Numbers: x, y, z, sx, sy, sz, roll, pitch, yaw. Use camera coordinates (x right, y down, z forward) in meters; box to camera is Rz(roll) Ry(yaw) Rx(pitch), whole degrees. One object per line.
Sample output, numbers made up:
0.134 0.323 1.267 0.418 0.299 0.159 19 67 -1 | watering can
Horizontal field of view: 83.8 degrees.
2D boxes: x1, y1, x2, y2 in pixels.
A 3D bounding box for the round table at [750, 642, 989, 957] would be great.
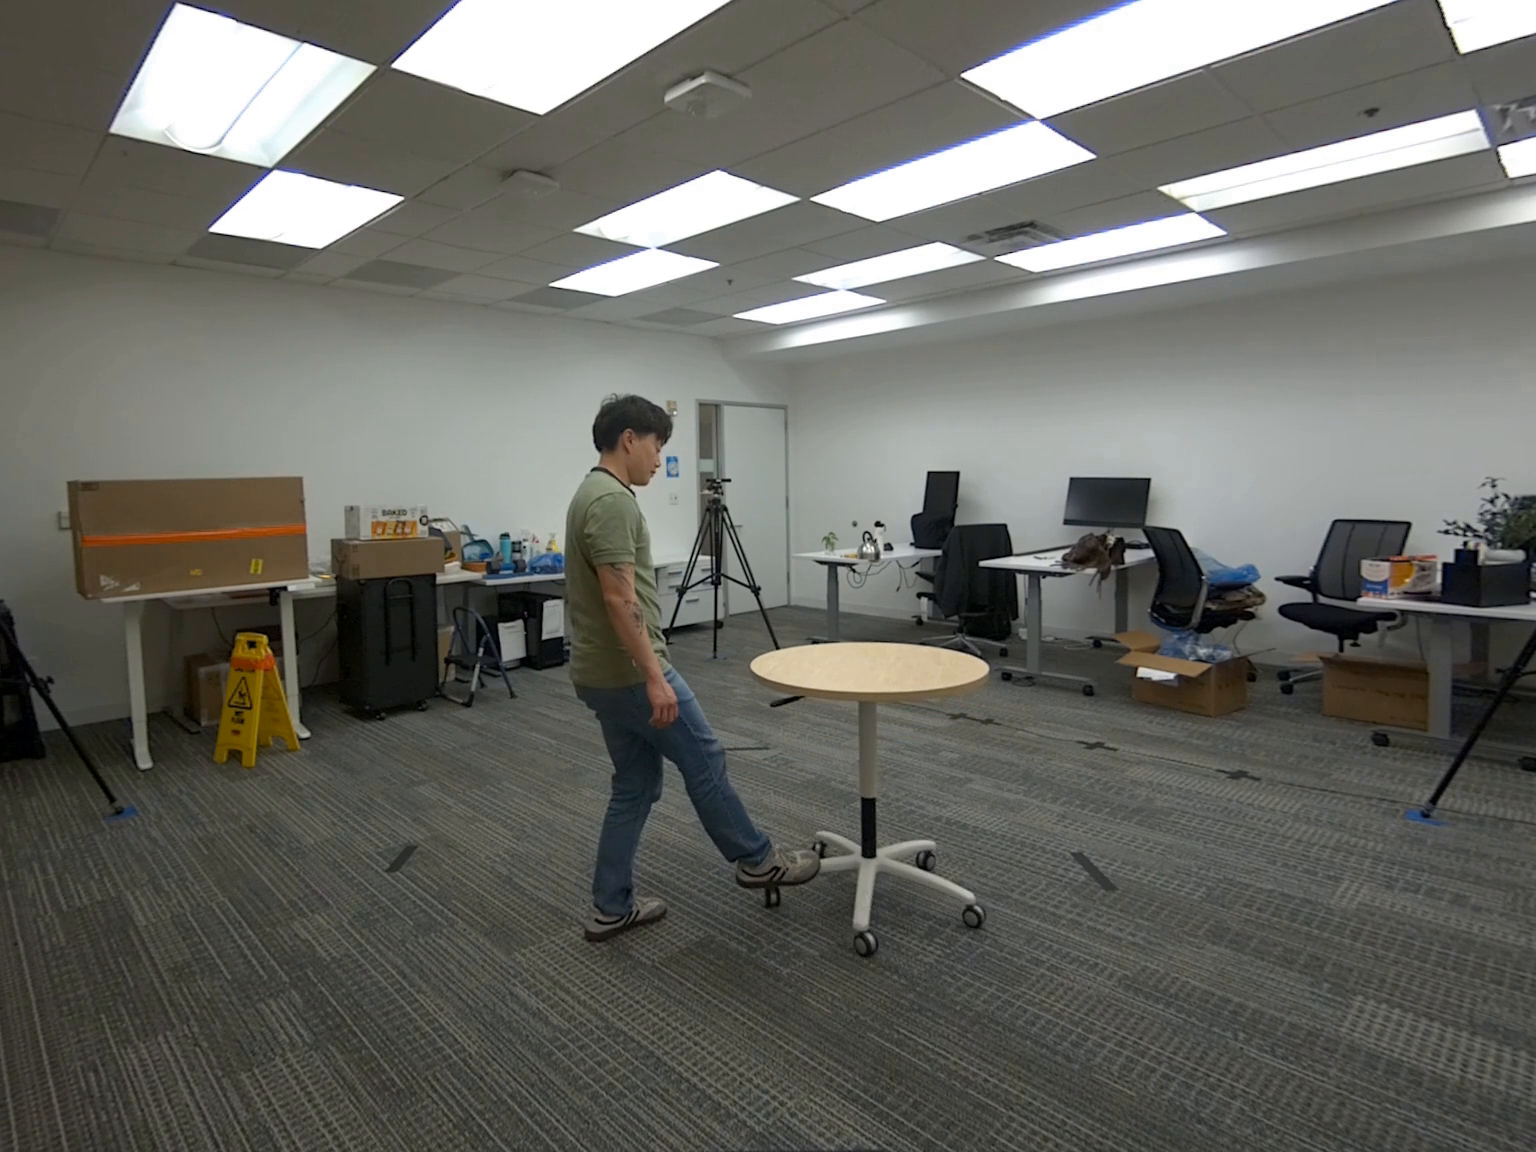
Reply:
0.338 0.683 2.814 0.763 0.791 0.768 -1 5 -2 | round table
